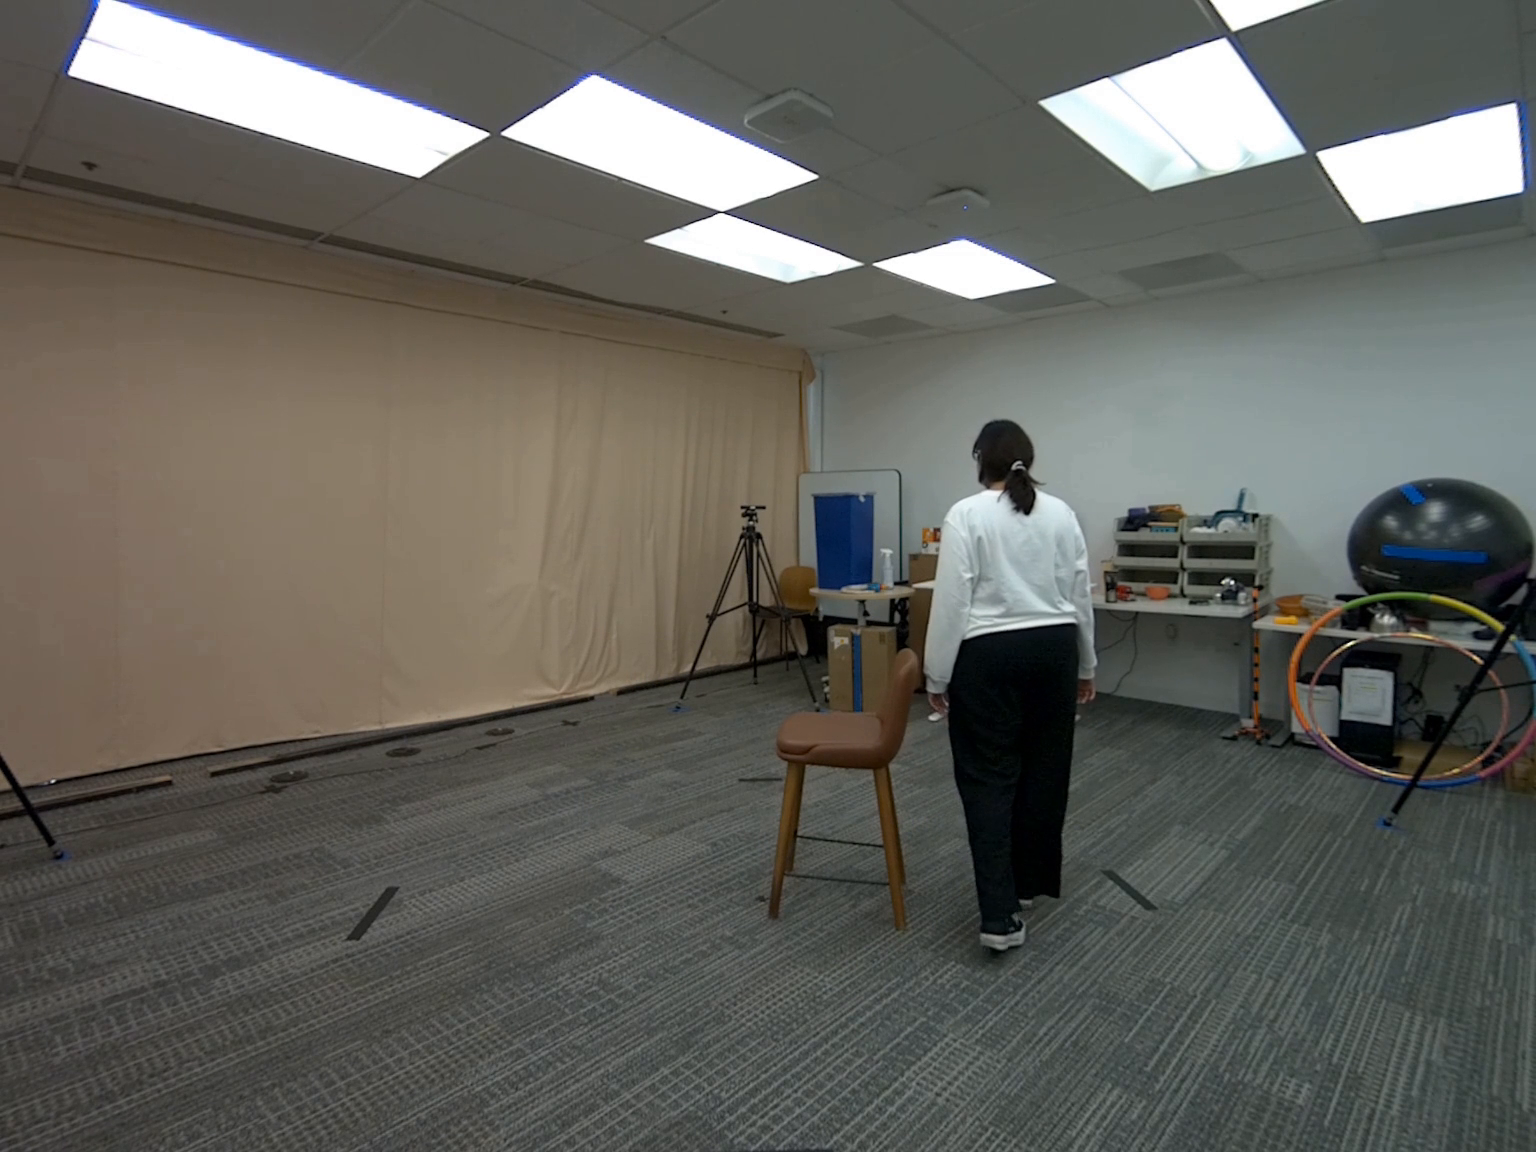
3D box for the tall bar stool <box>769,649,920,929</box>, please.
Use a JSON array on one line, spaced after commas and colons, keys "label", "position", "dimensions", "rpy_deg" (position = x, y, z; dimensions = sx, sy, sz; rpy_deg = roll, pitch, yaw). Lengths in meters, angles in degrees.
[{"label": "tall bar stool", "position": [0.274, 0.708, 2.964], "dimensions": [0.474, 0.888, 0.451], "rpy_deg": [3, 3, 11]}]
